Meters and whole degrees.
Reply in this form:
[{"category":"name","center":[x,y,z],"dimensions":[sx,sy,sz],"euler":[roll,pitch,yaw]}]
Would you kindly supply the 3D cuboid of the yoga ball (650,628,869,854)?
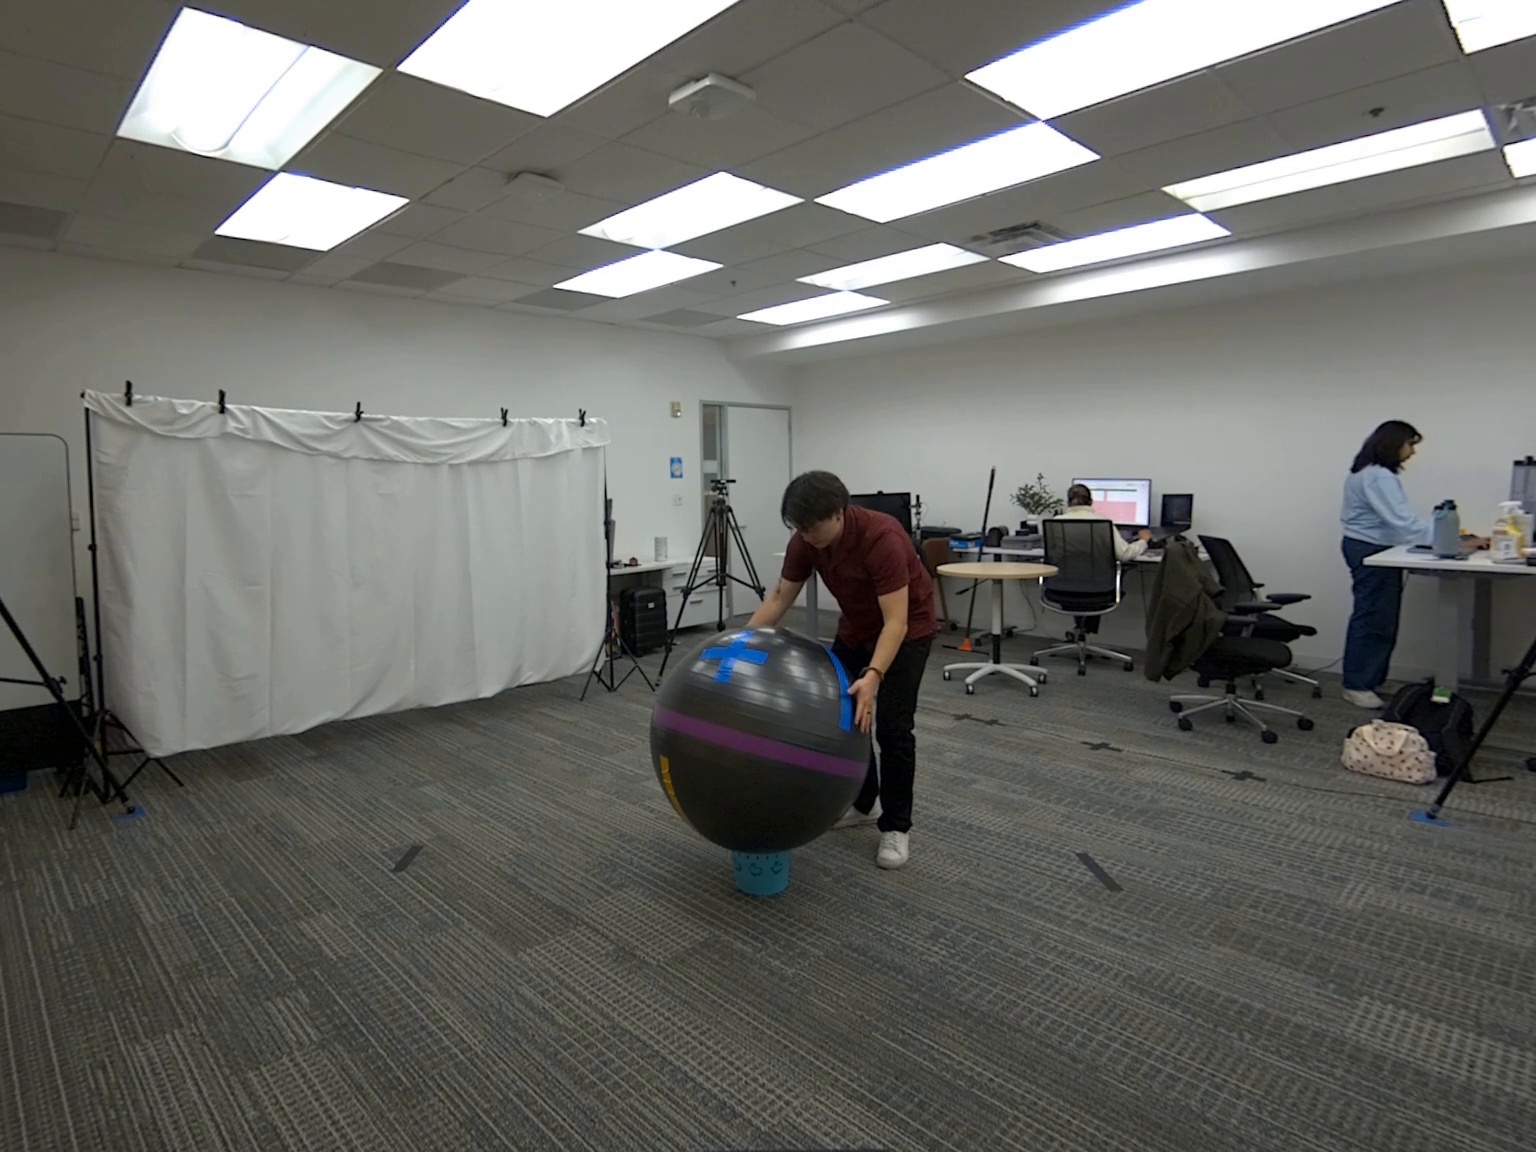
[{"category":"yoga ball","center":[-0.030,0.554,2.945],"dimensions":[0.757,0.755,0.762],"euler":[-1,5,-2]}]
